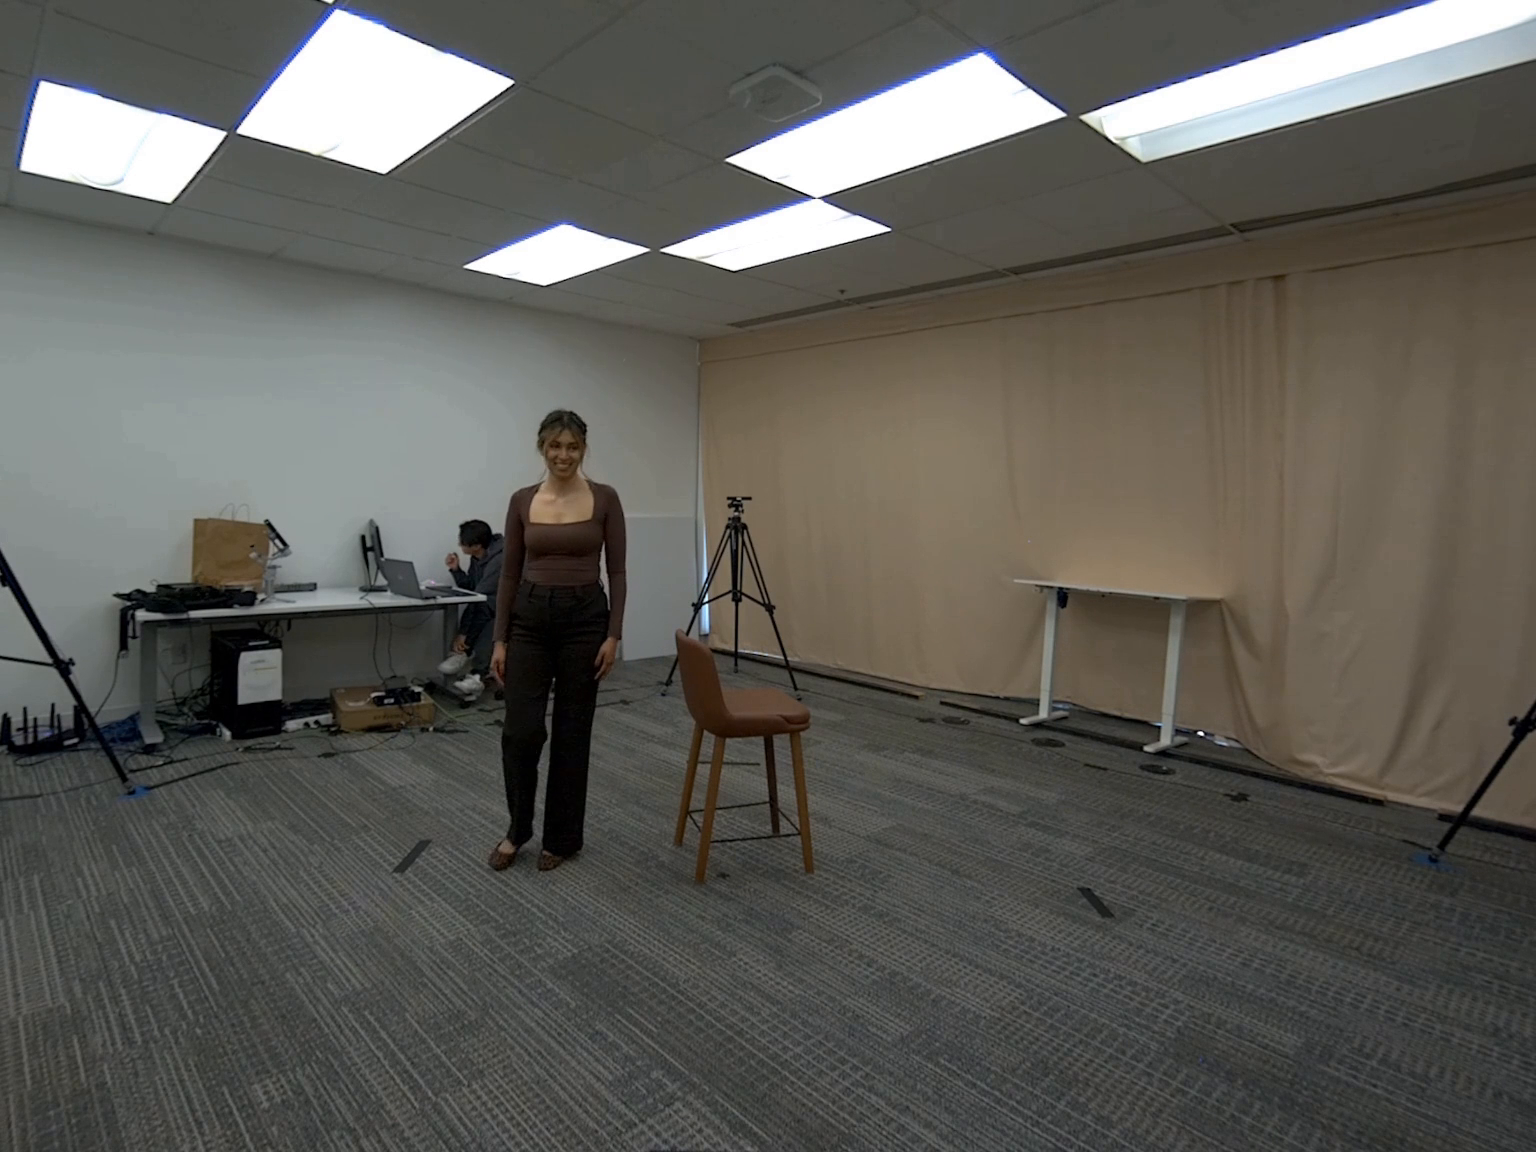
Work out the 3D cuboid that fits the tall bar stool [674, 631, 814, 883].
[{"bbox_3d":[-0.111,0.656,3.248,0.461,0.887,0.464,-2,4,-18],"label":"tall bar stool"}]
